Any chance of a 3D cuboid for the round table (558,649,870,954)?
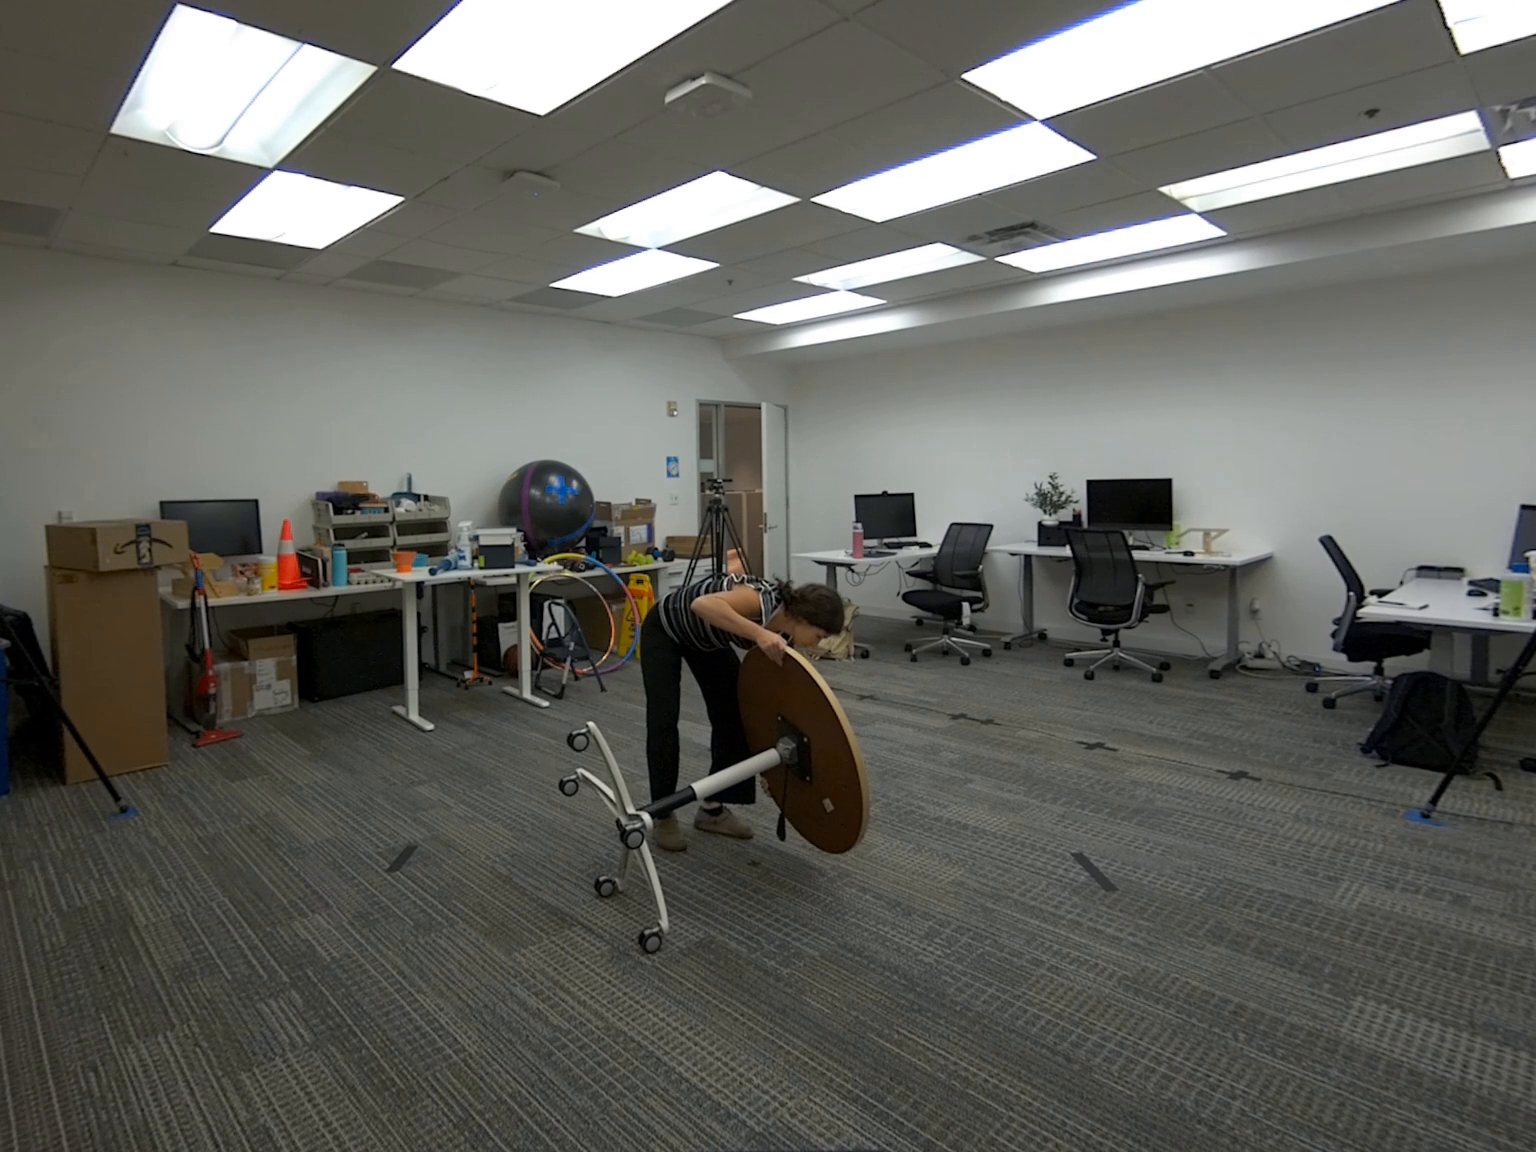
[{"bbox_3d":[-0.206,0.712,2.851,0.781,0.756,0.785,-17,12,-27],"label":"round table"}]
